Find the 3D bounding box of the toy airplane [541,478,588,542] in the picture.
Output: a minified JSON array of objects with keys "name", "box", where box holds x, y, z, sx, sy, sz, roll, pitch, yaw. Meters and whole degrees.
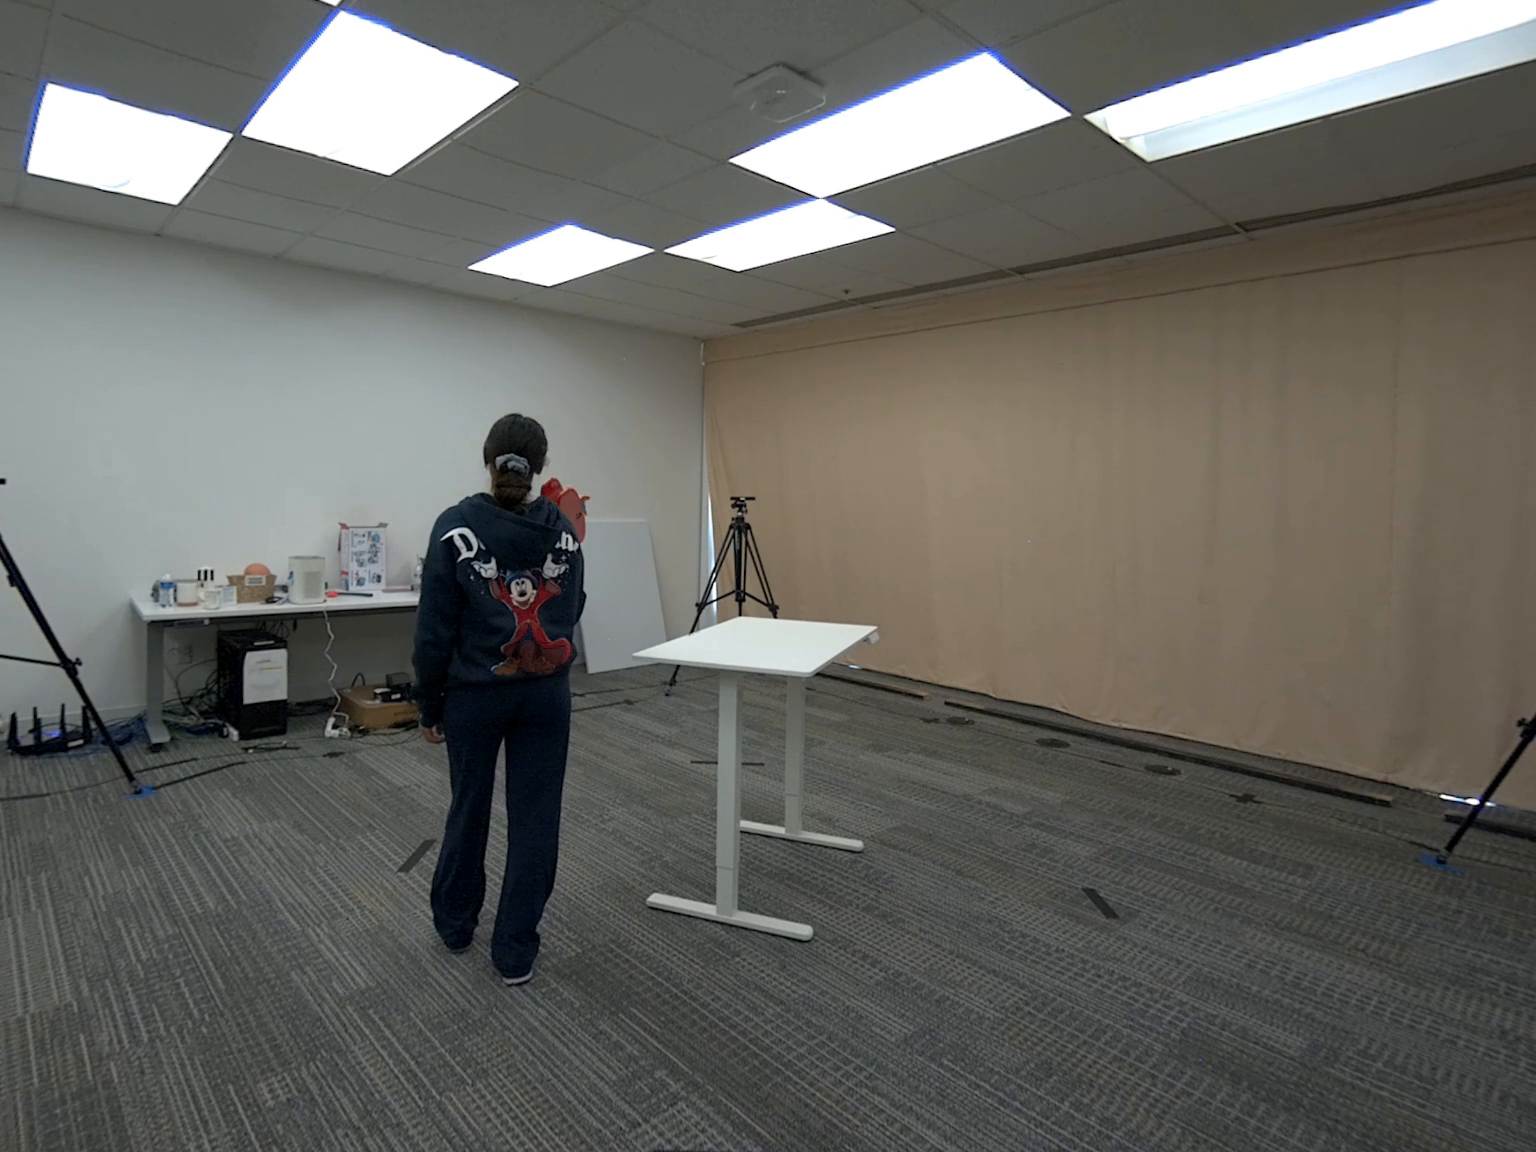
[{"name":"toy airplane","box":[-0.716,-0.175,2.773,0.159,0.260,0.246,18,-10,14]}]
